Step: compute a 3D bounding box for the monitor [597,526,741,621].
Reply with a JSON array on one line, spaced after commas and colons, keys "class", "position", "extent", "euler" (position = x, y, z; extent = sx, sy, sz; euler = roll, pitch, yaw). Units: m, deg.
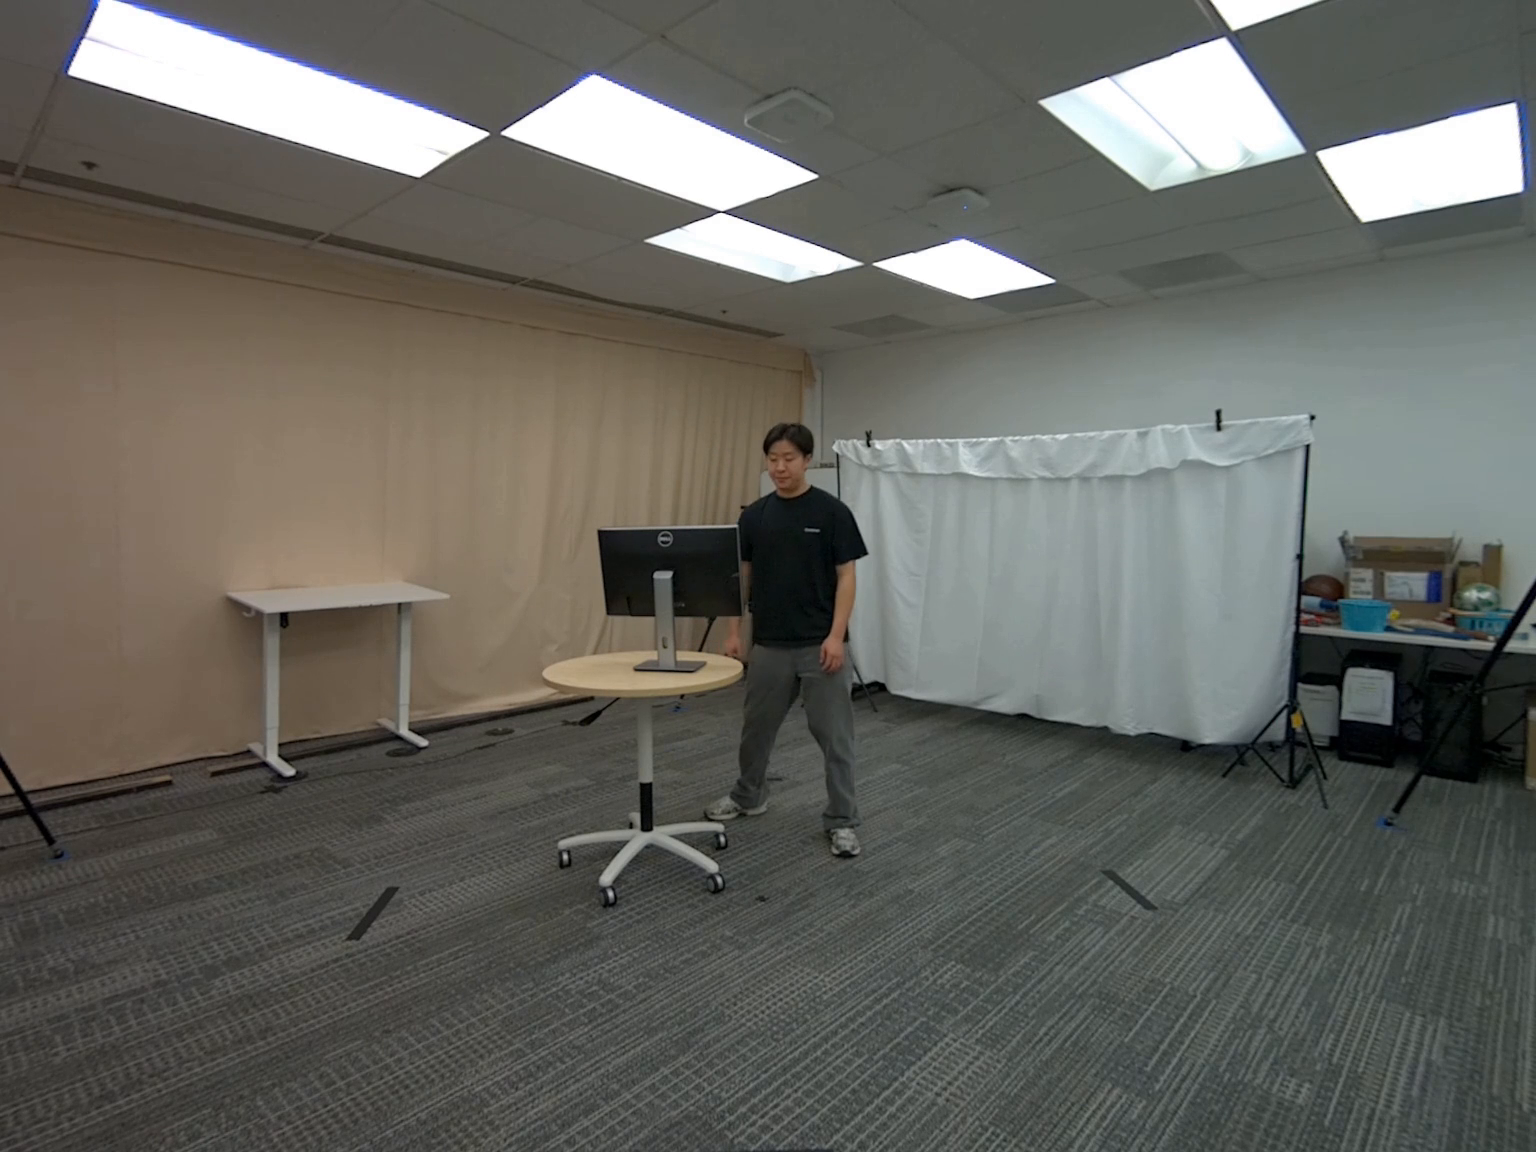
[{"class": "monitor", "position": [-0.383, 0.091, 3.234], "extent": [0.571, 0.565, 0.219], "euler": [0, 1, 15]}]
